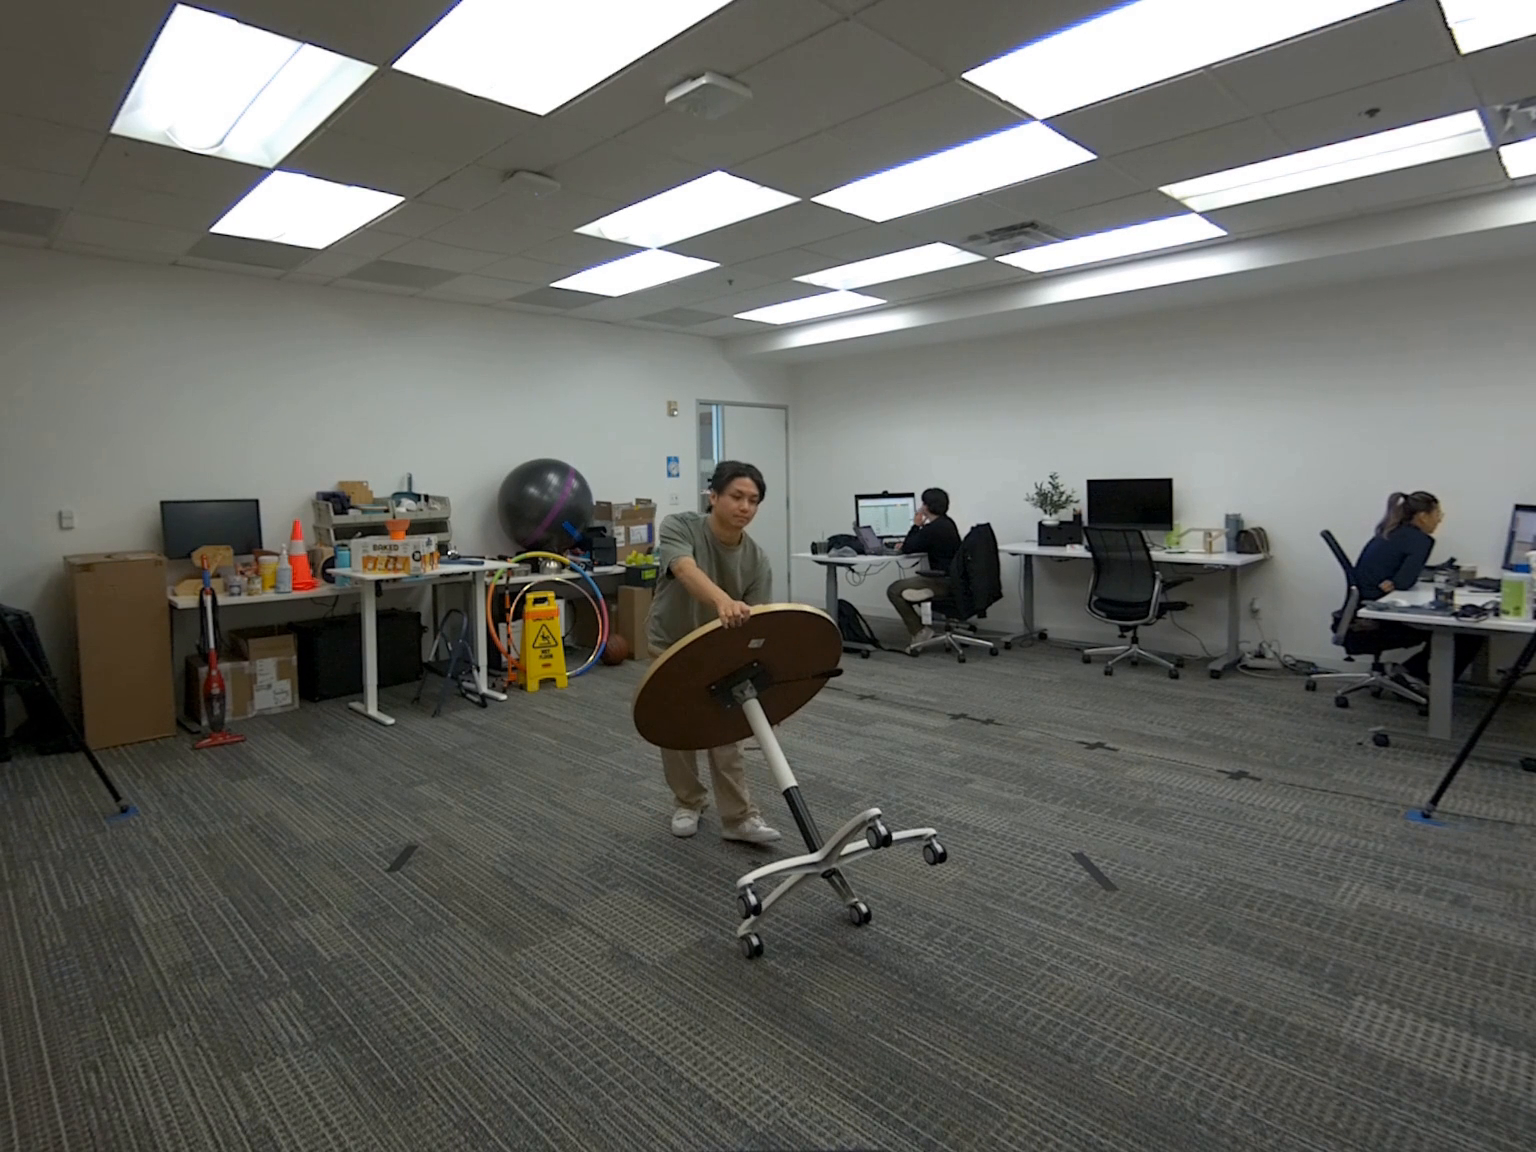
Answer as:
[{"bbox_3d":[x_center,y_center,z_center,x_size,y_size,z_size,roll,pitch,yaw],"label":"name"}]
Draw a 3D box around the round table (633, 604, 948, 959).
[{"bbox_3d":[0.052,0.635,2.666,0.768,0.774,0.815,-3,46,-27],"label":"round table"}]
